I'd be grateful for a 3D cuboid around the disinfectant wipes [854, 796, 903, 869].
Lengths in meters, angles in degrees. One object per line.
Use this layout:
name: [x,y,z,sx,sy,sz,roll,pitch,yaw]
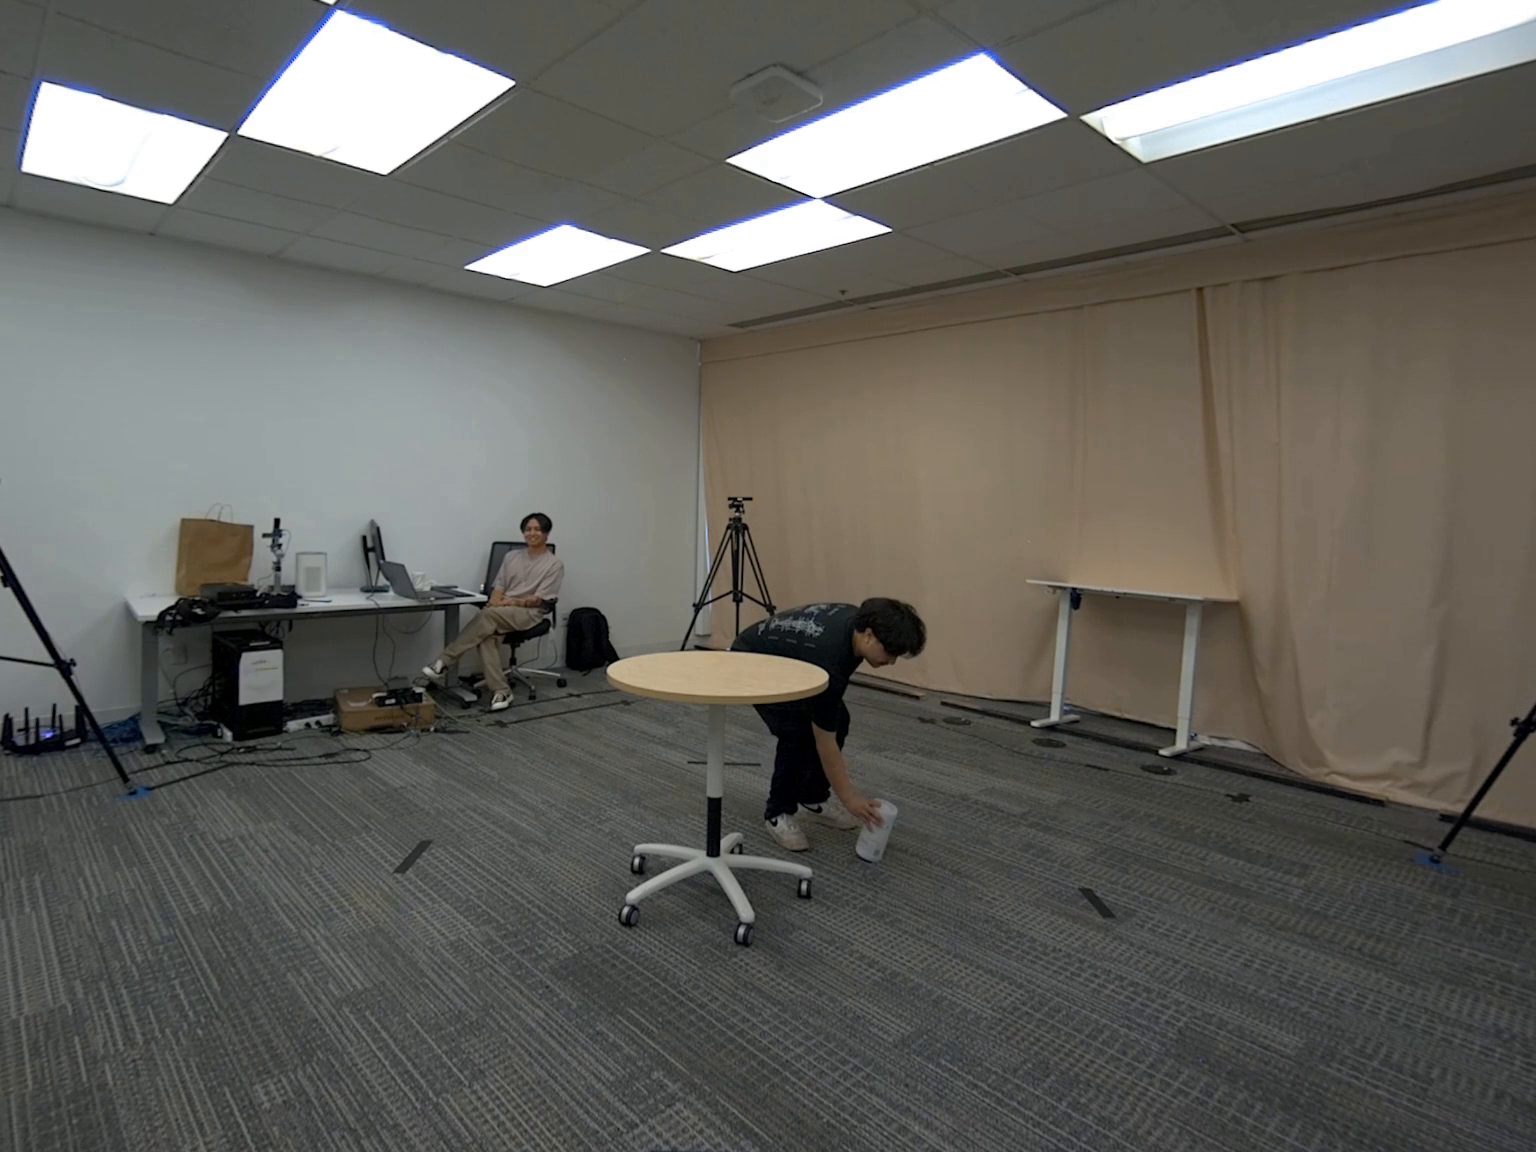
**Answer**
disinfectant wipes: [0.423,0.989,3.277,0.117,0.216,0.119,12,10,-4]
